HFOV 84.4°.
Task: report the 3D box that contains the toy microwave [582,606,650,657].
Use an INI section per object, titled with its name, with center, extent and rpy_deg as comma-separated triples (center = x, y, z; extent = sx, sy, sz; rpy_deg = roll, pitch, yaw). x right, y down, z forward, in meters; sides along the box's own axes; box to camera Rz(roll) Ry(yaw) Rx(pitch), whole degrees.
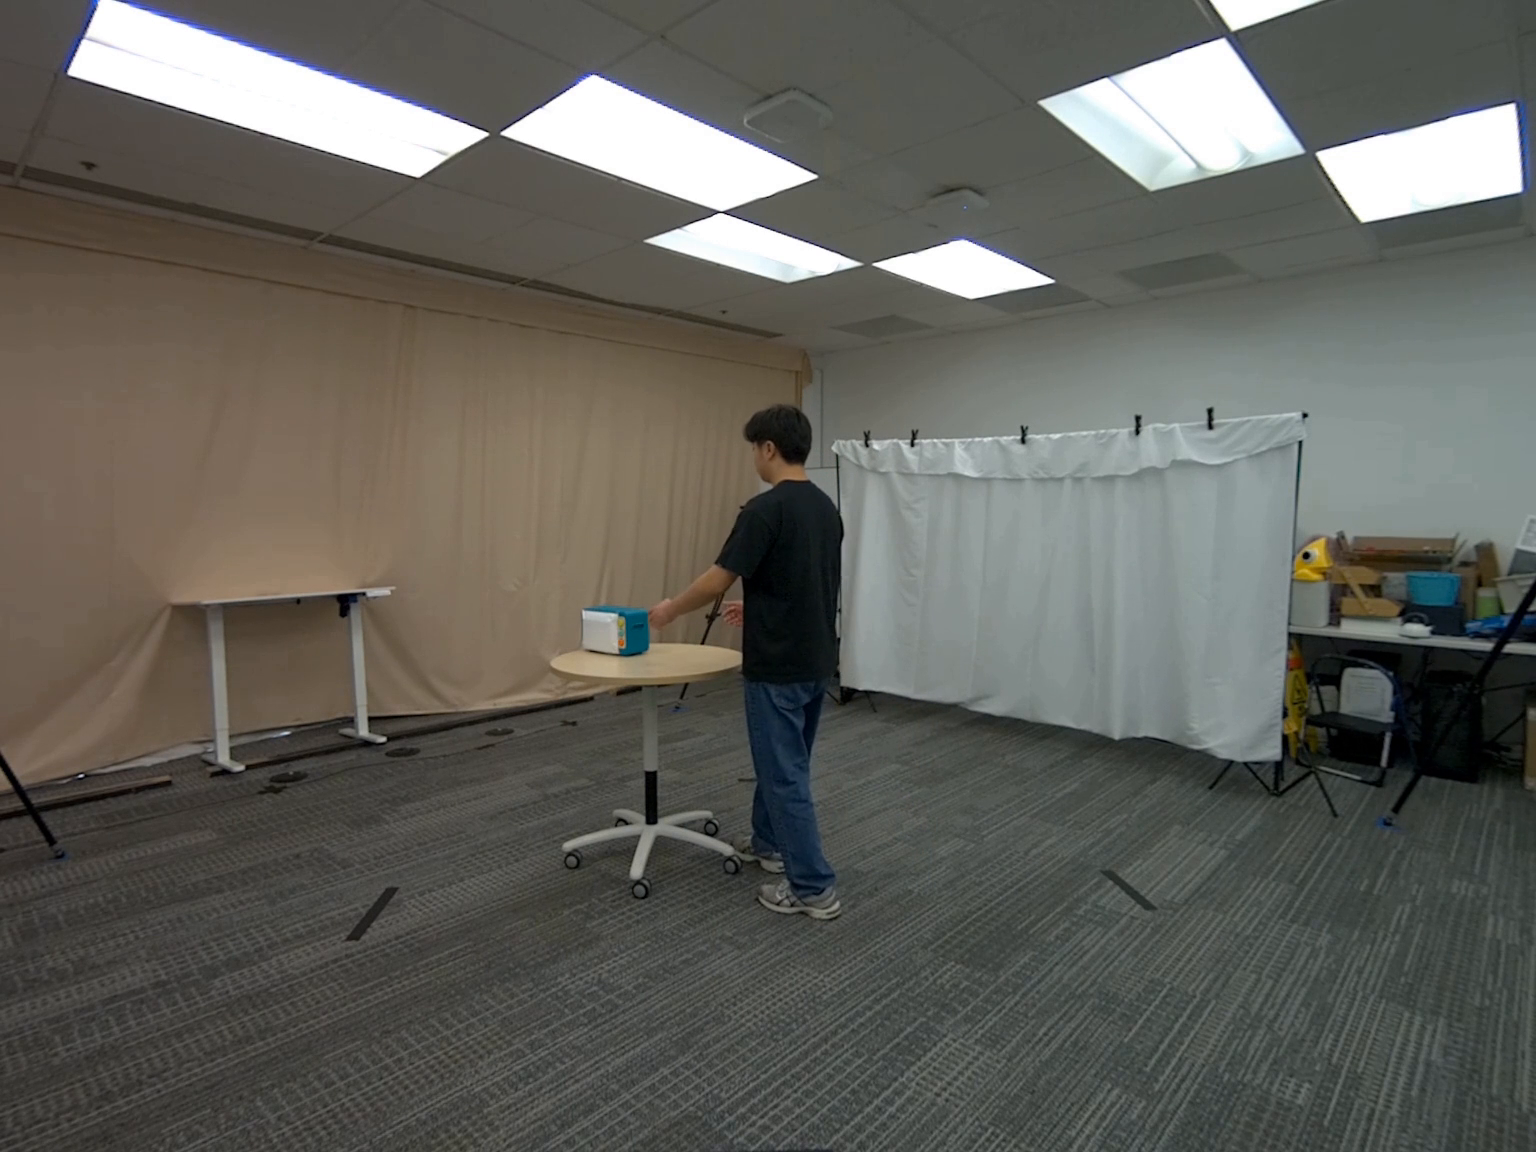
[toy microwave]
center = -0.643, 0.224, 3.466
extent = 0.295, 0.184, 0.148
rpy_deg = 3, 5, 39
